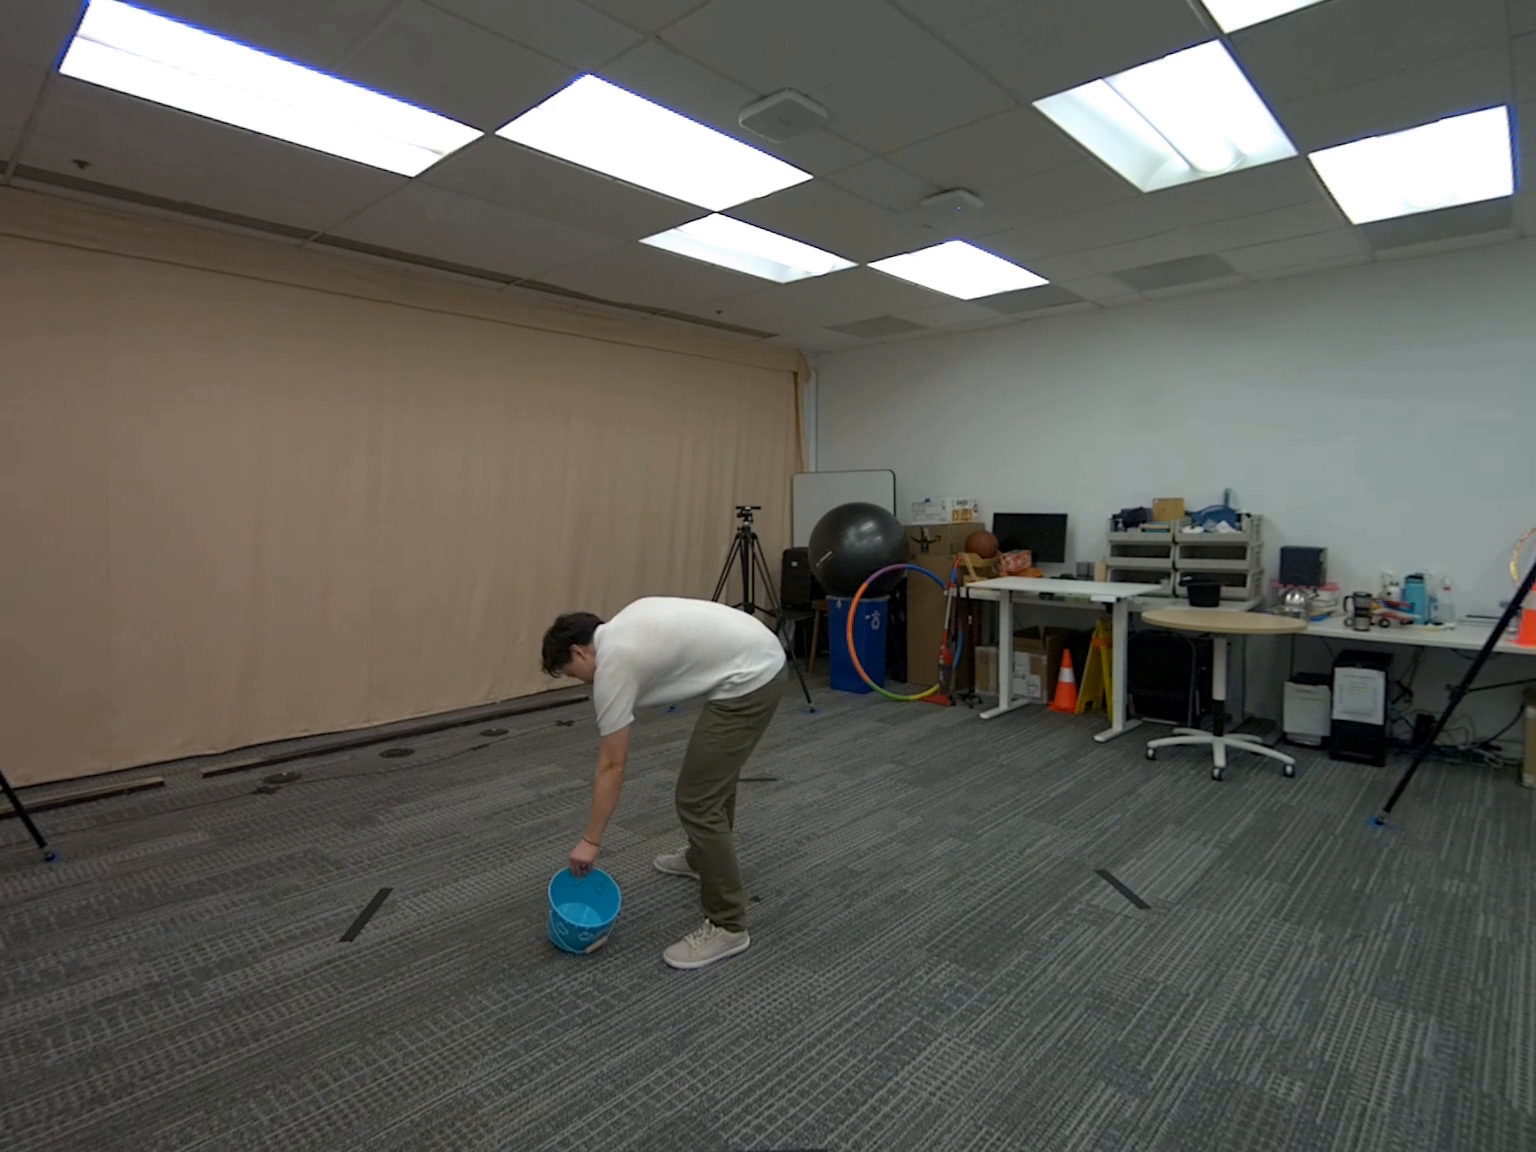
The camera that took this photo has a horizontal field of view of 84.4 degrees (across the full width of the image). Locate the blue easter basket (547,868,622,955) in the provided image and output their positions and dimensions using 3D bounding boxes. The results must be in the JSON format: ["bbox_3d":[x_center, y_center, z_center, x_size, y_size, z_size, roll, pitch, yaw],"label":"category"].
[{"bbox_3d":[-0.588,1.073,2.660,0.241,0.155,0.247,13,27,-8],"label":"blue easter basket"}]
